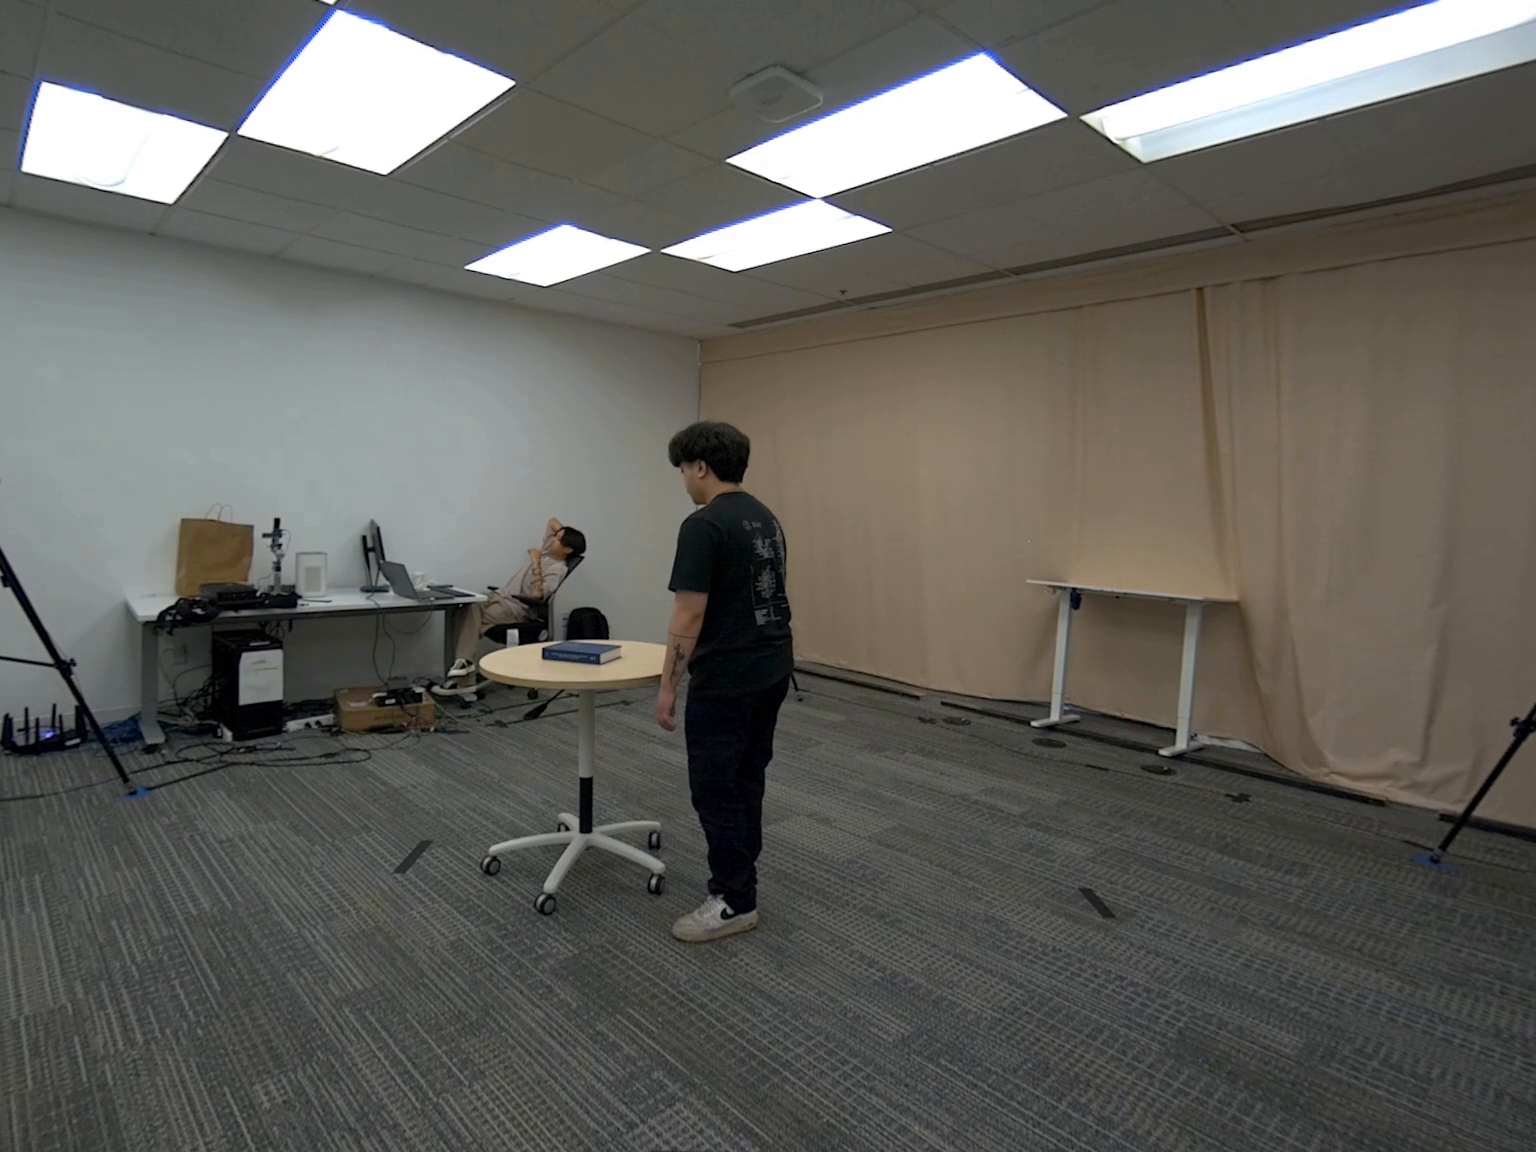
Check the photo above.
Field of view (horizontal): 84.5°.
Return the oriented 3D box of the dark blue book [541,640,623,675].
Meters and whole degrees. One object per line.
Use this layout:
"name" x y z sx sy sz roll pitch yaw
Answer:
"dark blue book" -0.696 0.285 3.095 0.249 0.045 0.161 3 5 20
